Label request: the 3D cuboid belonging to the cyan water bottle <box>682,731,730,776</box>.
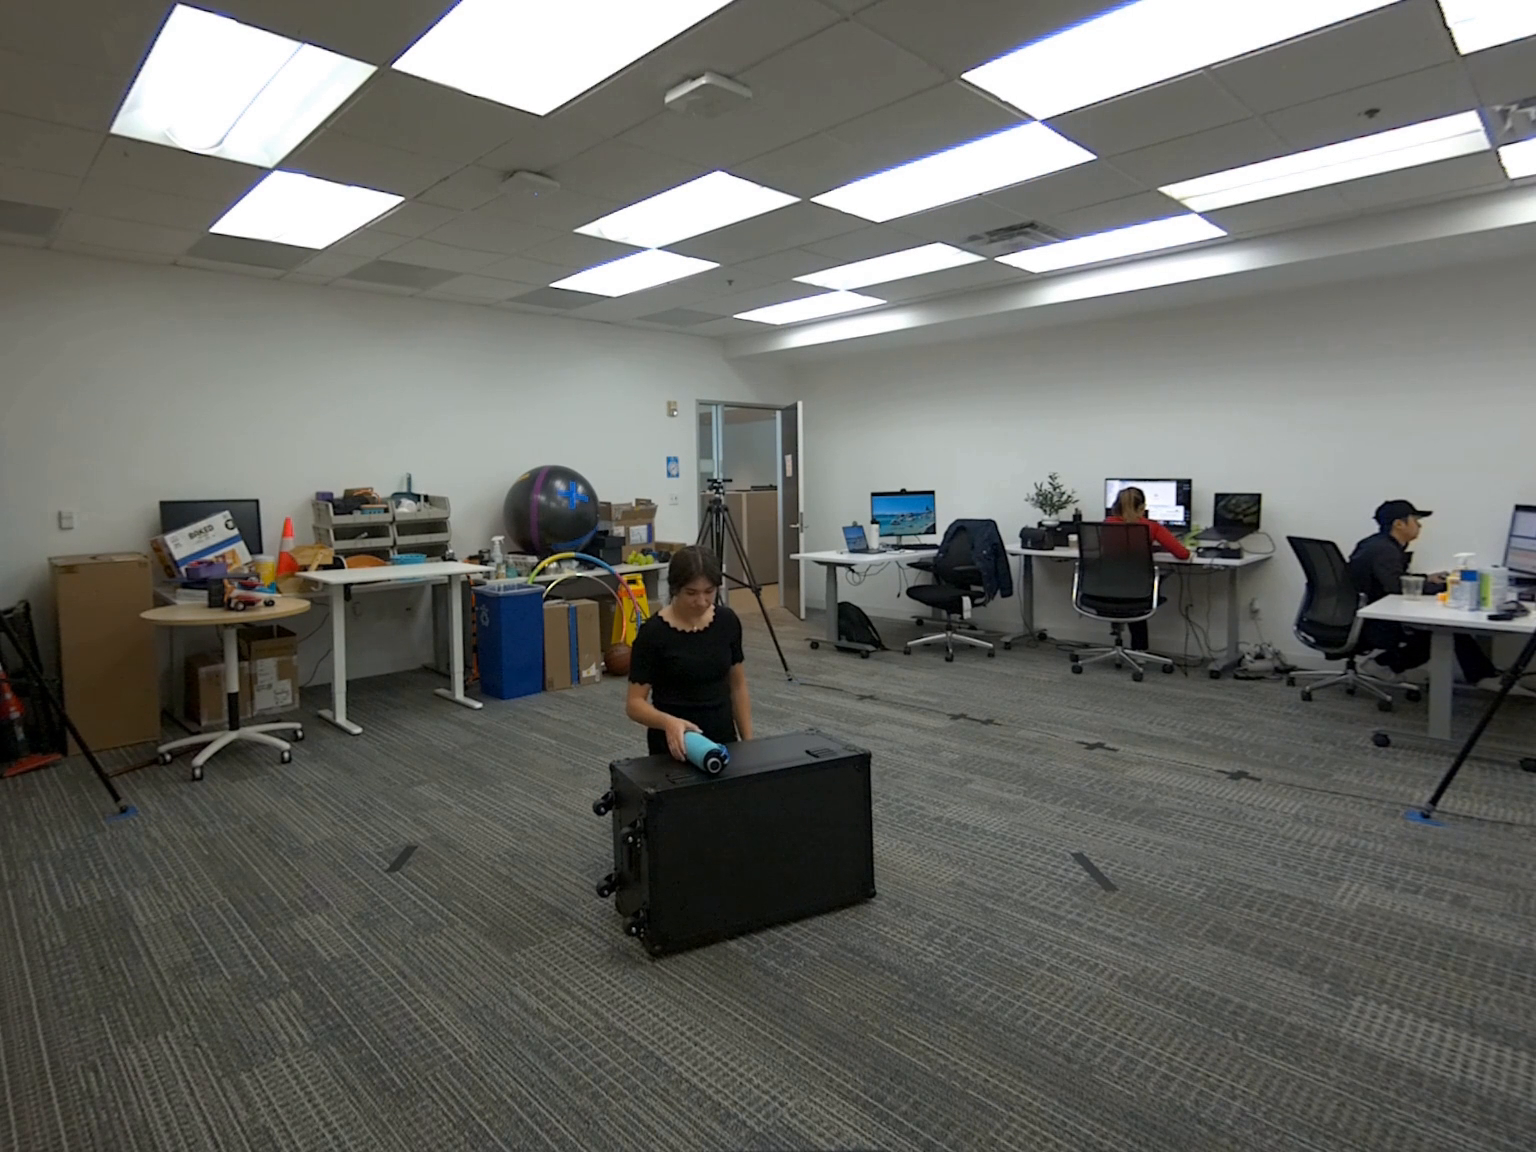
[{"bbox_3d":[-0.202,0.561,2.711,0.090,0.092,0.289,-3,2,-22],"label":"cyan water bottle"}]
